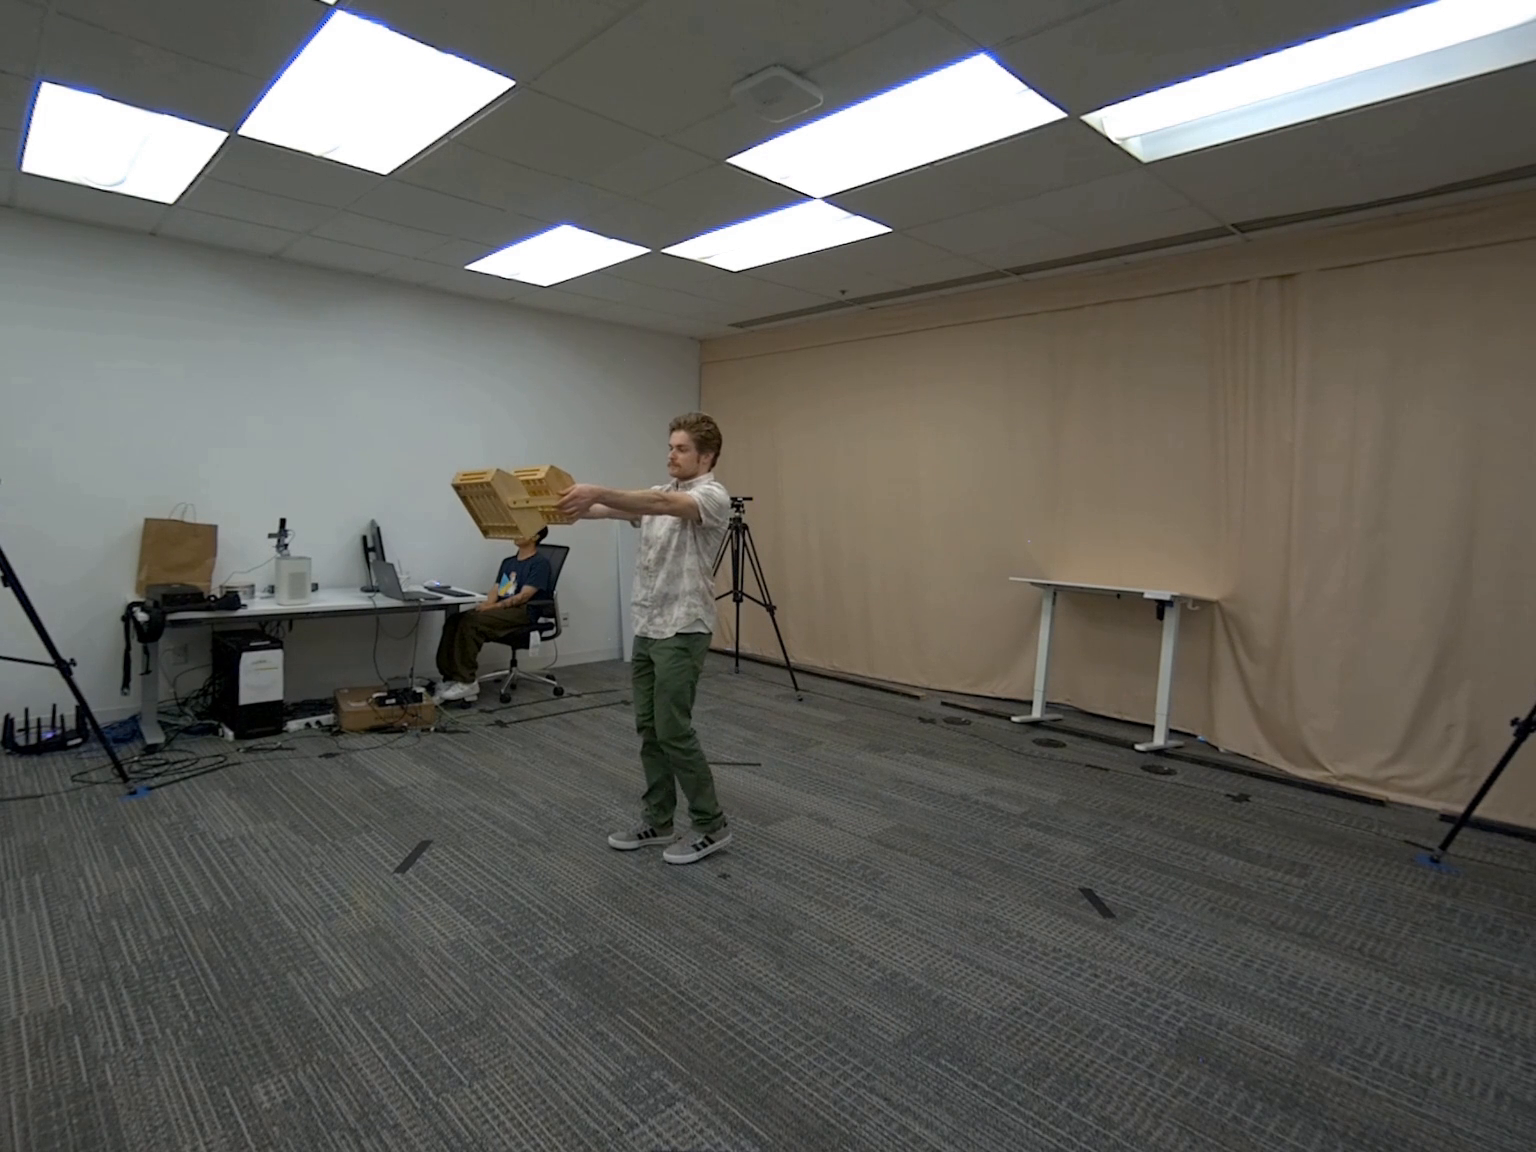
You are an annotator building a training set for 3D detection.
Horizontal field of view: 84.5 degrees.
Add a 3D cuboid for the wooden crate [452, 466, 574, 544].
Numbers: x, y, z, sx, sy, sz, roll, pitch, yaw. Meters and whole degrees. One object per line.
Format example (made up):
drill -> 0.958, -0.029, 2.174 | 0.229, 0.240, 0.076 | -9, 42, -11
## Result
wooden crate -> -0.855, -0.283, 2.891 | 0.332, 0.295, 0.272 | 3, 37, 47
